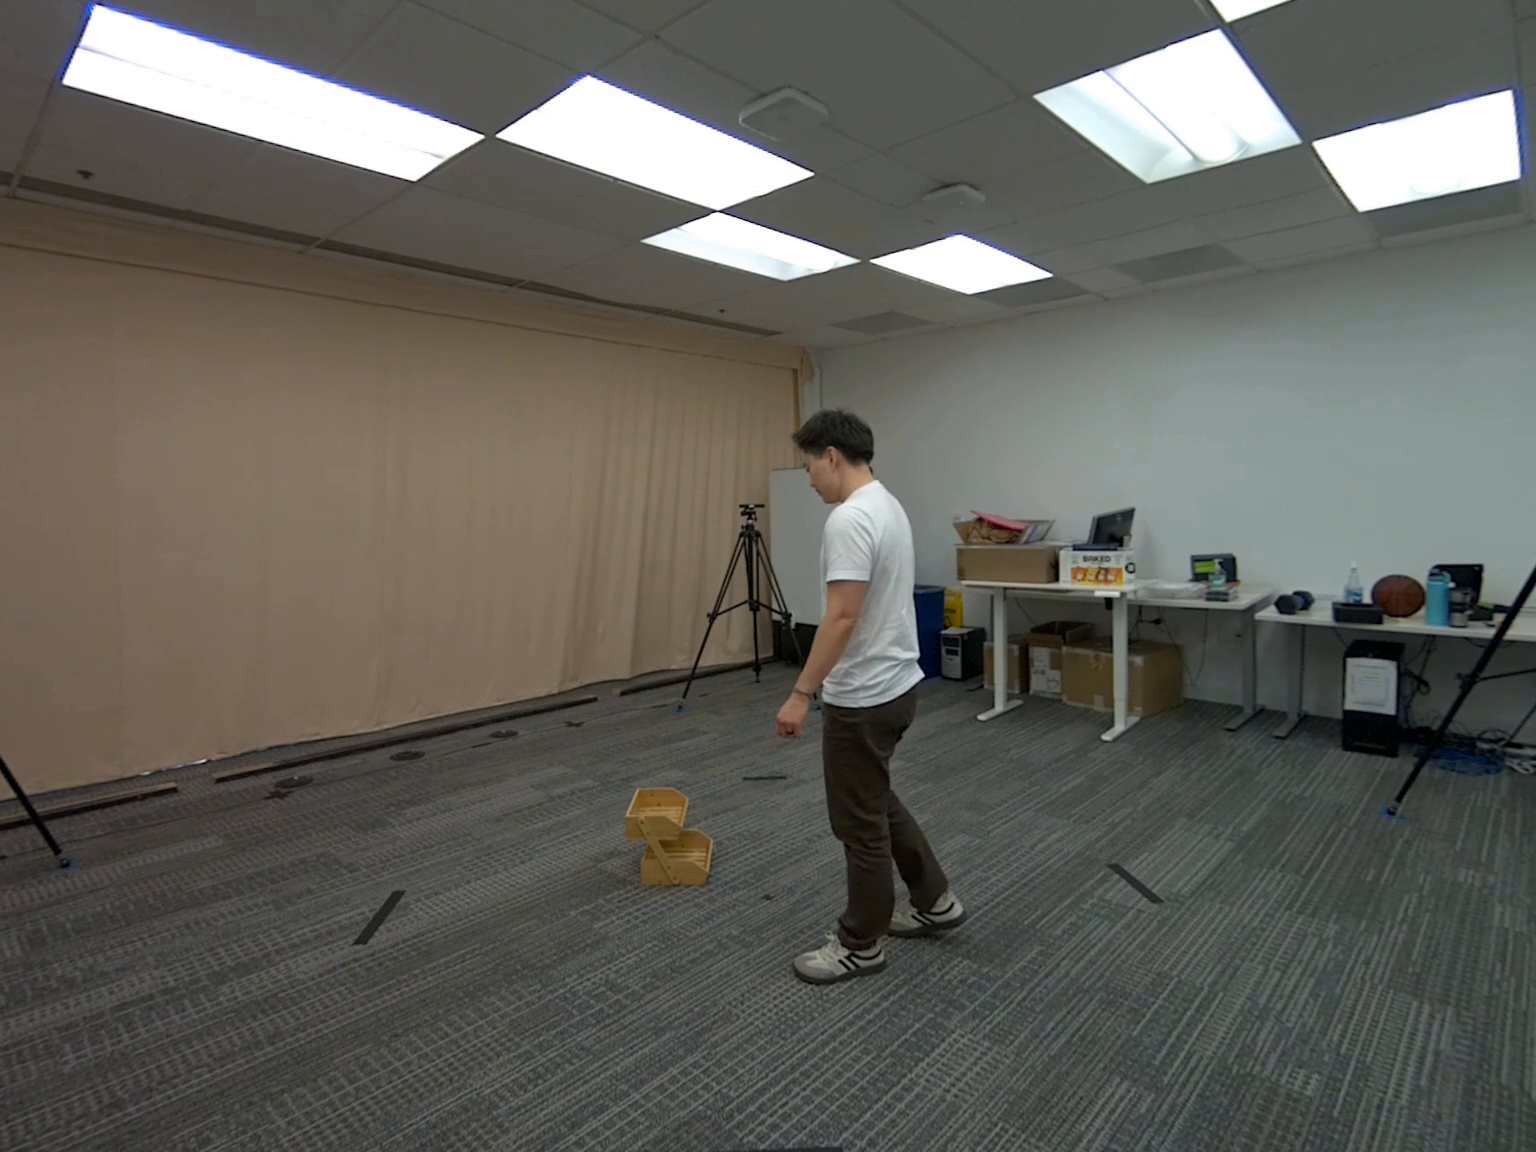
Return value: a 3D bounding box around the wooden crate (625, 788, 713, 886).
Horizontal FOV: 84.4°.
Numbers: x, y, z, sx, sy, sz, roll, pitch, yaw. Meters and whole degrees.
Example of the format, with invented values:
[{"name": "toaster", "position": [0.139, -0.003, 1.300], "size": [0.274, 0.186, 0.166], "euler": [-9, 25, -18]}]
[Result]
[{"name": "wooden crate", "position": [-0.371, 0.991, 3.239], "size": [0.303, 0.273, 0.324], "euler": [-2, 4, 1]}]
